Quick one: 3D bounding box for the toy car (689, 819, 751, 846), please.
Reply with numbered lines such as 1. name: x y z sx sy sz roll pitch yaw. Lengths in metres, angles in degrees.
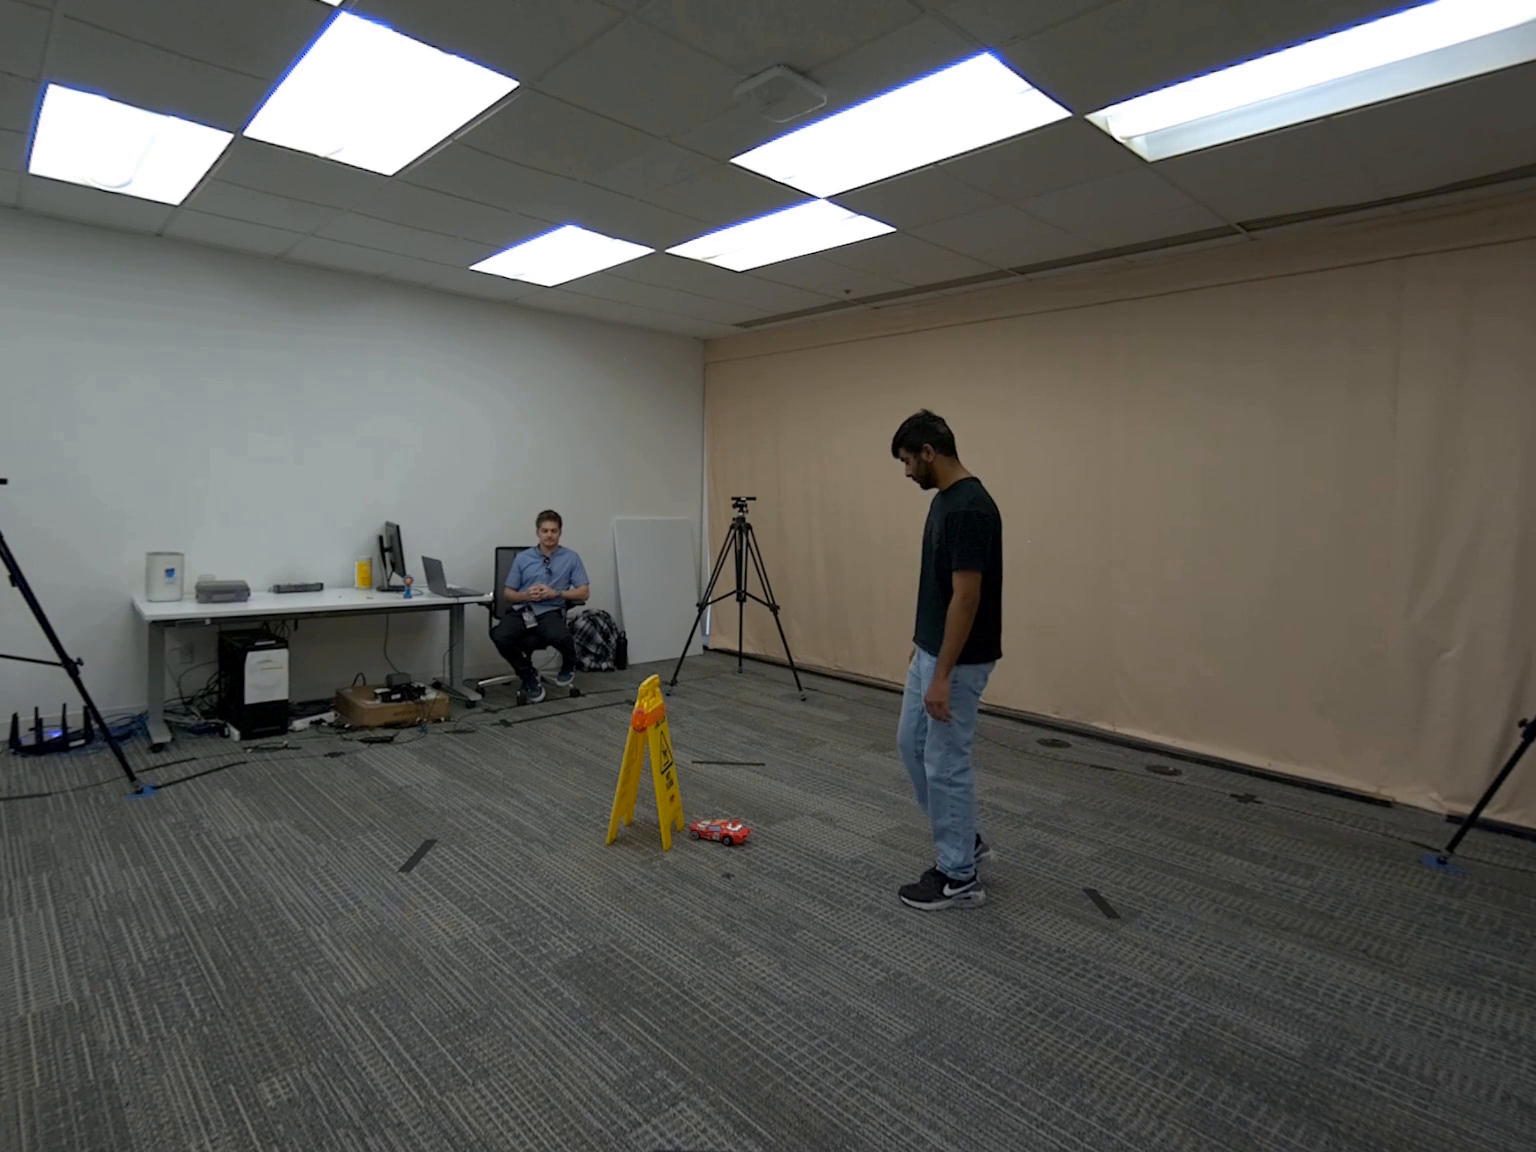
1. toy car: -0.203 1.046 3.432 0.258 0.083 0.128 -8 0 21
